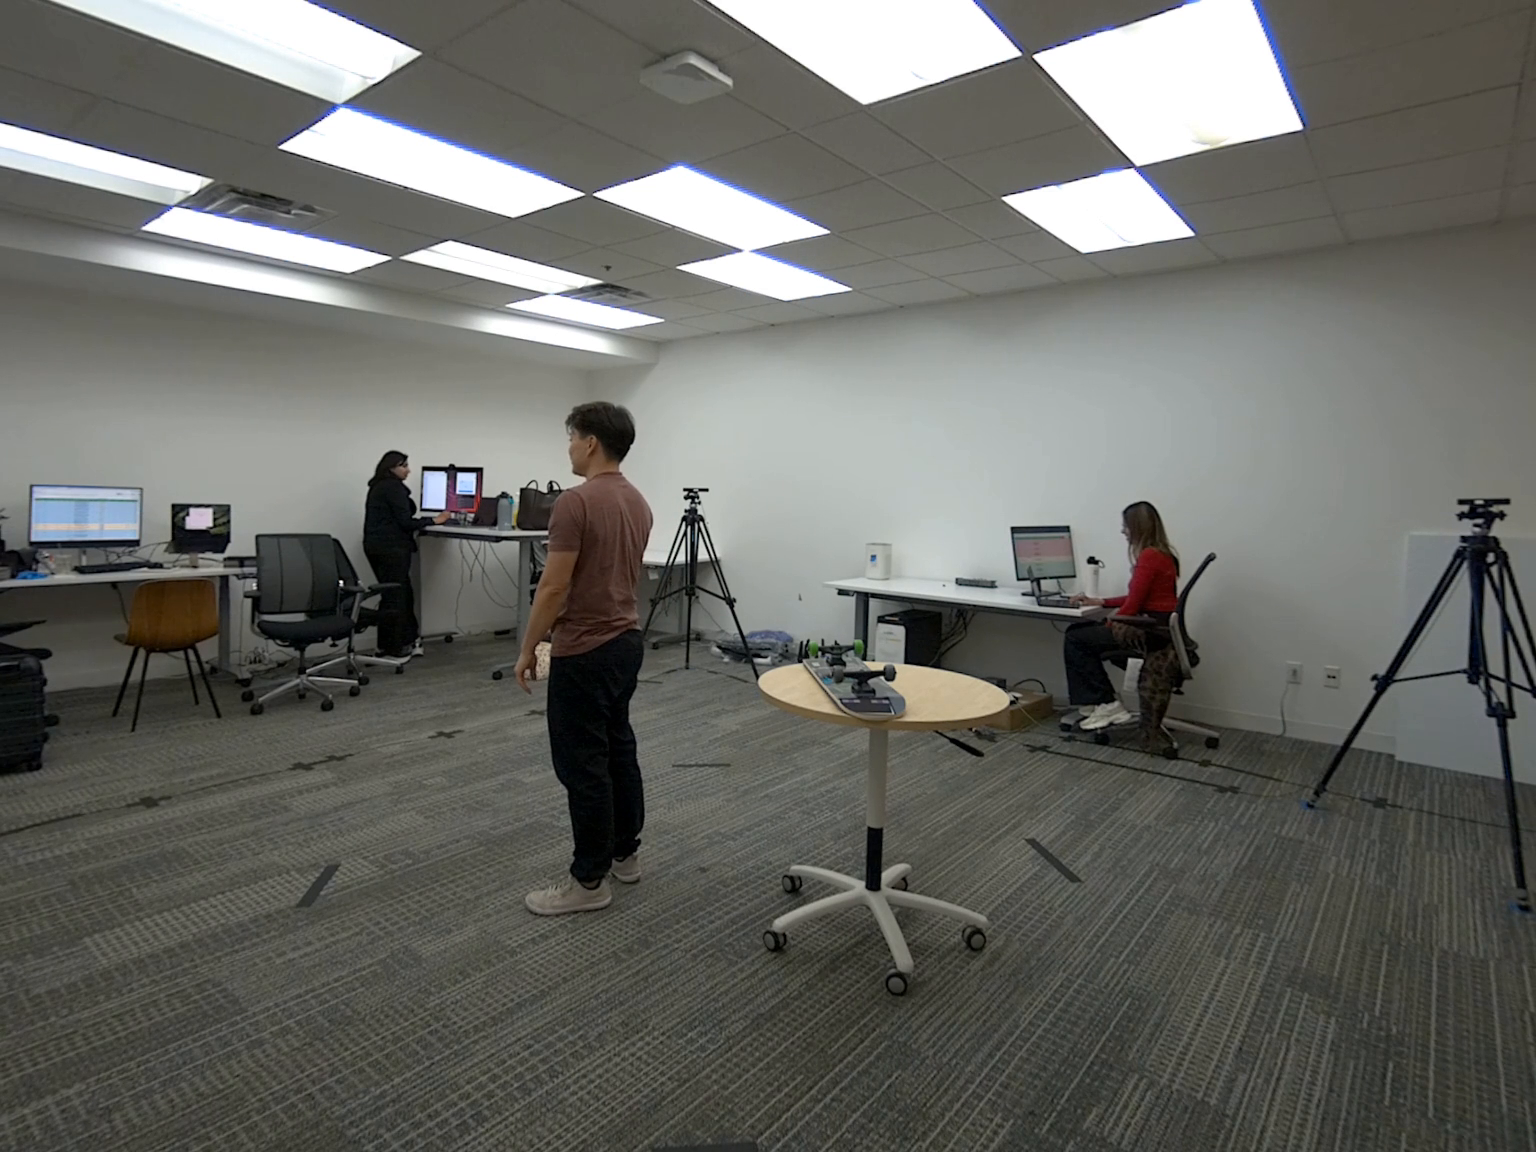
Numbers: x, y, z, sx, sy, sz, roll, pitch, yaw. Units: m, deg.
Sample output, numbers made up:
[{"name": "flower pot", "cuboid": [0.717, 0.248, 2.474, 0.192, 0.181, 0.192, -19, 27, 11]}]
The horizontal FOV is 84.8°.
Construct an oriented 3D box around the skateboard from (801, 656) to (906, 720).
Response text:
[{"name": "skateboard", "cuboid": [0.244, 0.295, 2.657, 0.192, 0.110, 0.794, -1, 6, -7]}]
